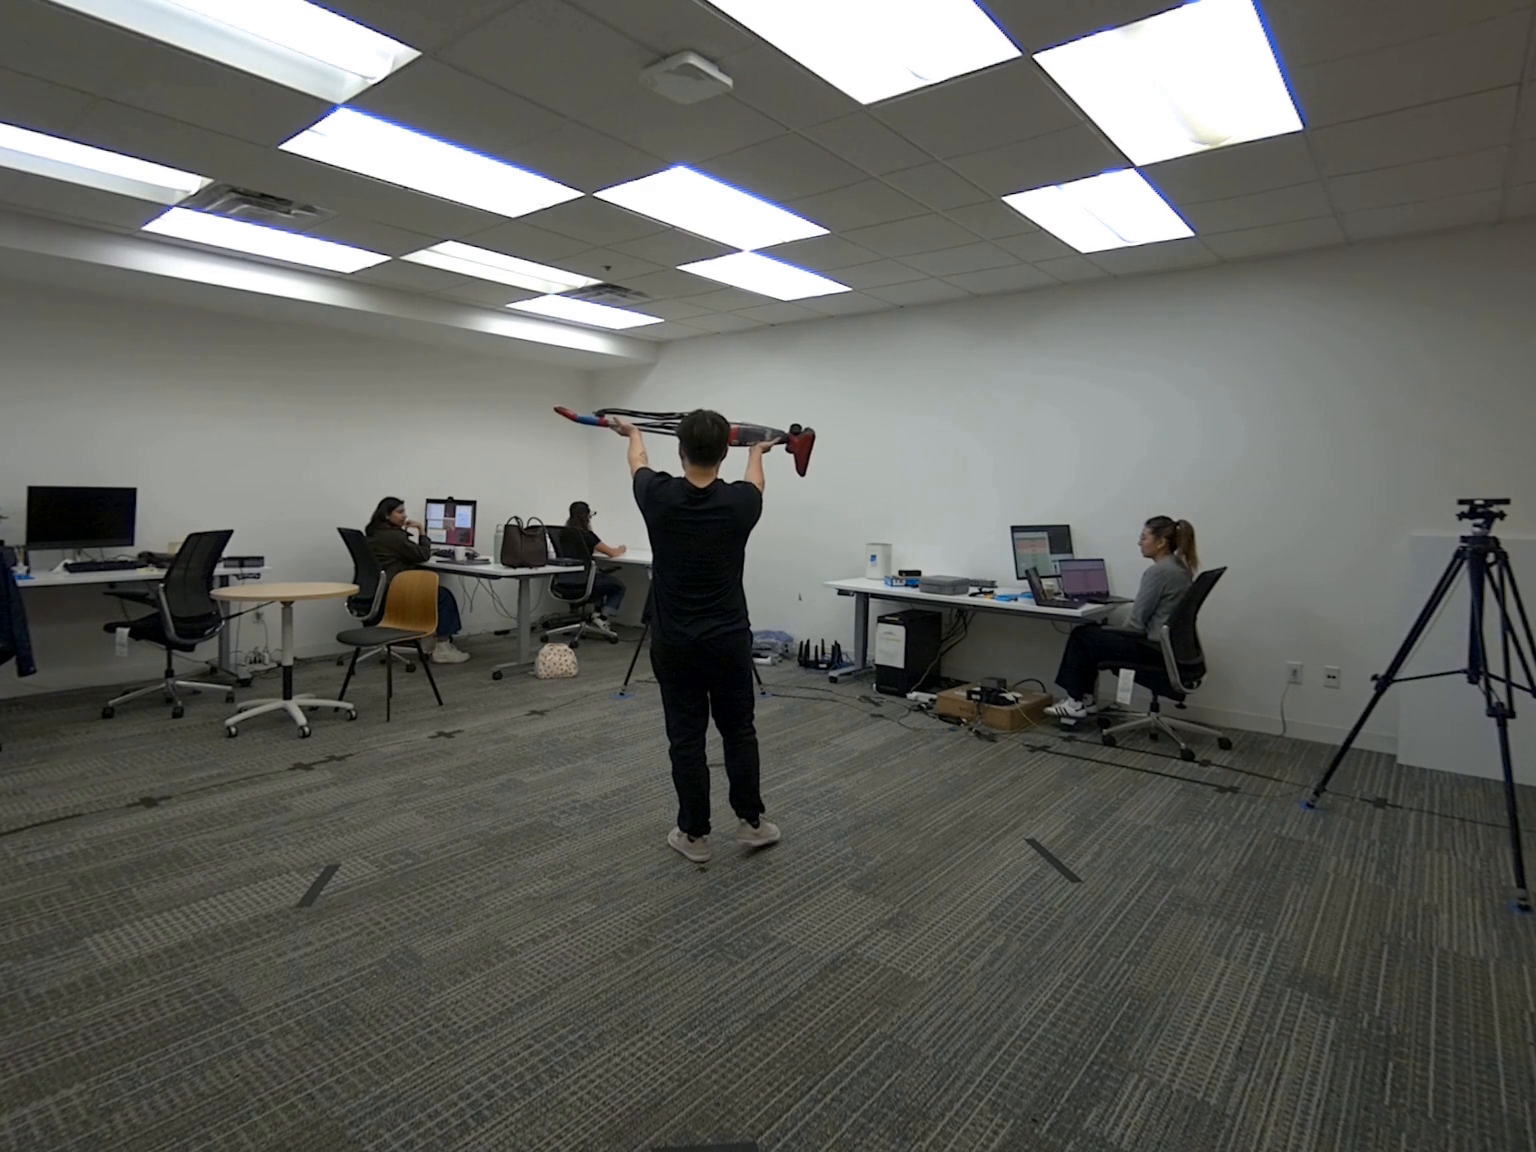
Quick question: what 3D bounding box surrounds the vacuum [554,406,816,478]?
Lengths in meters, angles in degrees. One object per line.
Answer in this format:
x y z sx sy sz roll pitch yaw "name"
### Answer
-0.375 -0.634 3.588 1.050 0.147 0.247 10 -41 0 "vacuum"
